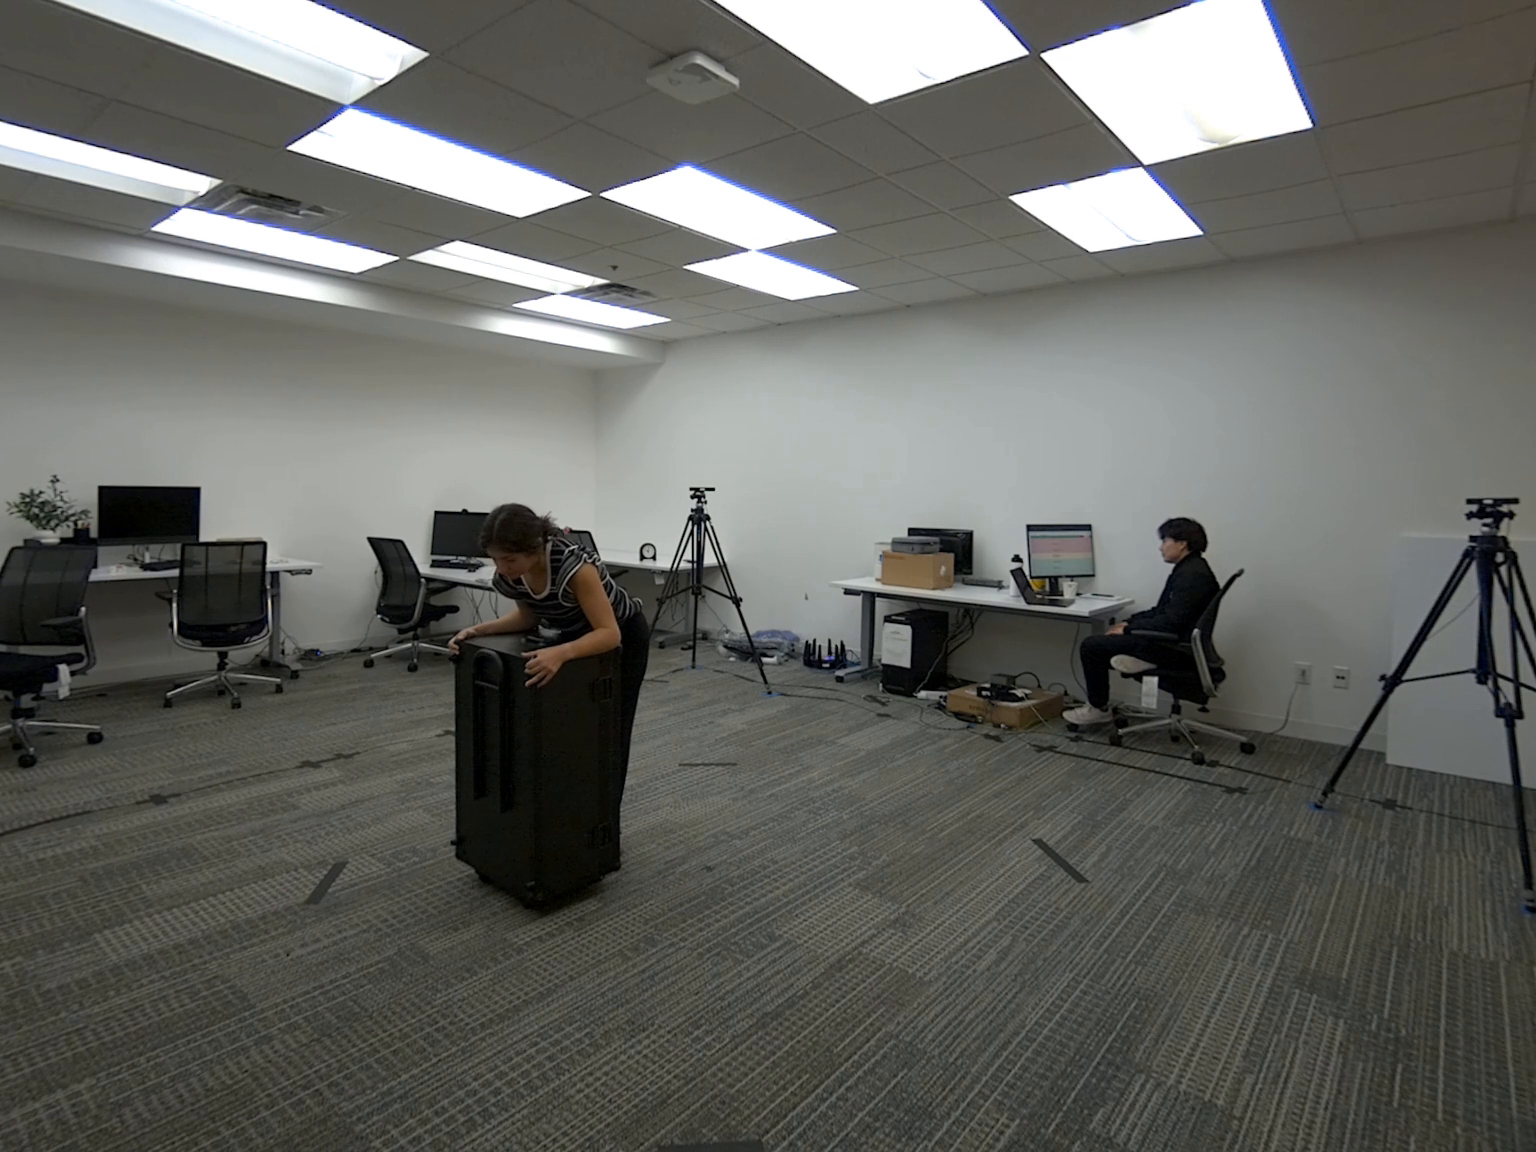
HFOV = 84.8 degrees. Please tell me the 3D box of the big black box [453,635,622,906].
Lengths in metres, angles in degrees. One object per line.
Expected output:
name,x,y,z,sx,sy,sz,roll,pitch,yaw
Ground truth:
big black box,-0.815,0.660,2.928,0.539,0.857,0.385,5,6,39
